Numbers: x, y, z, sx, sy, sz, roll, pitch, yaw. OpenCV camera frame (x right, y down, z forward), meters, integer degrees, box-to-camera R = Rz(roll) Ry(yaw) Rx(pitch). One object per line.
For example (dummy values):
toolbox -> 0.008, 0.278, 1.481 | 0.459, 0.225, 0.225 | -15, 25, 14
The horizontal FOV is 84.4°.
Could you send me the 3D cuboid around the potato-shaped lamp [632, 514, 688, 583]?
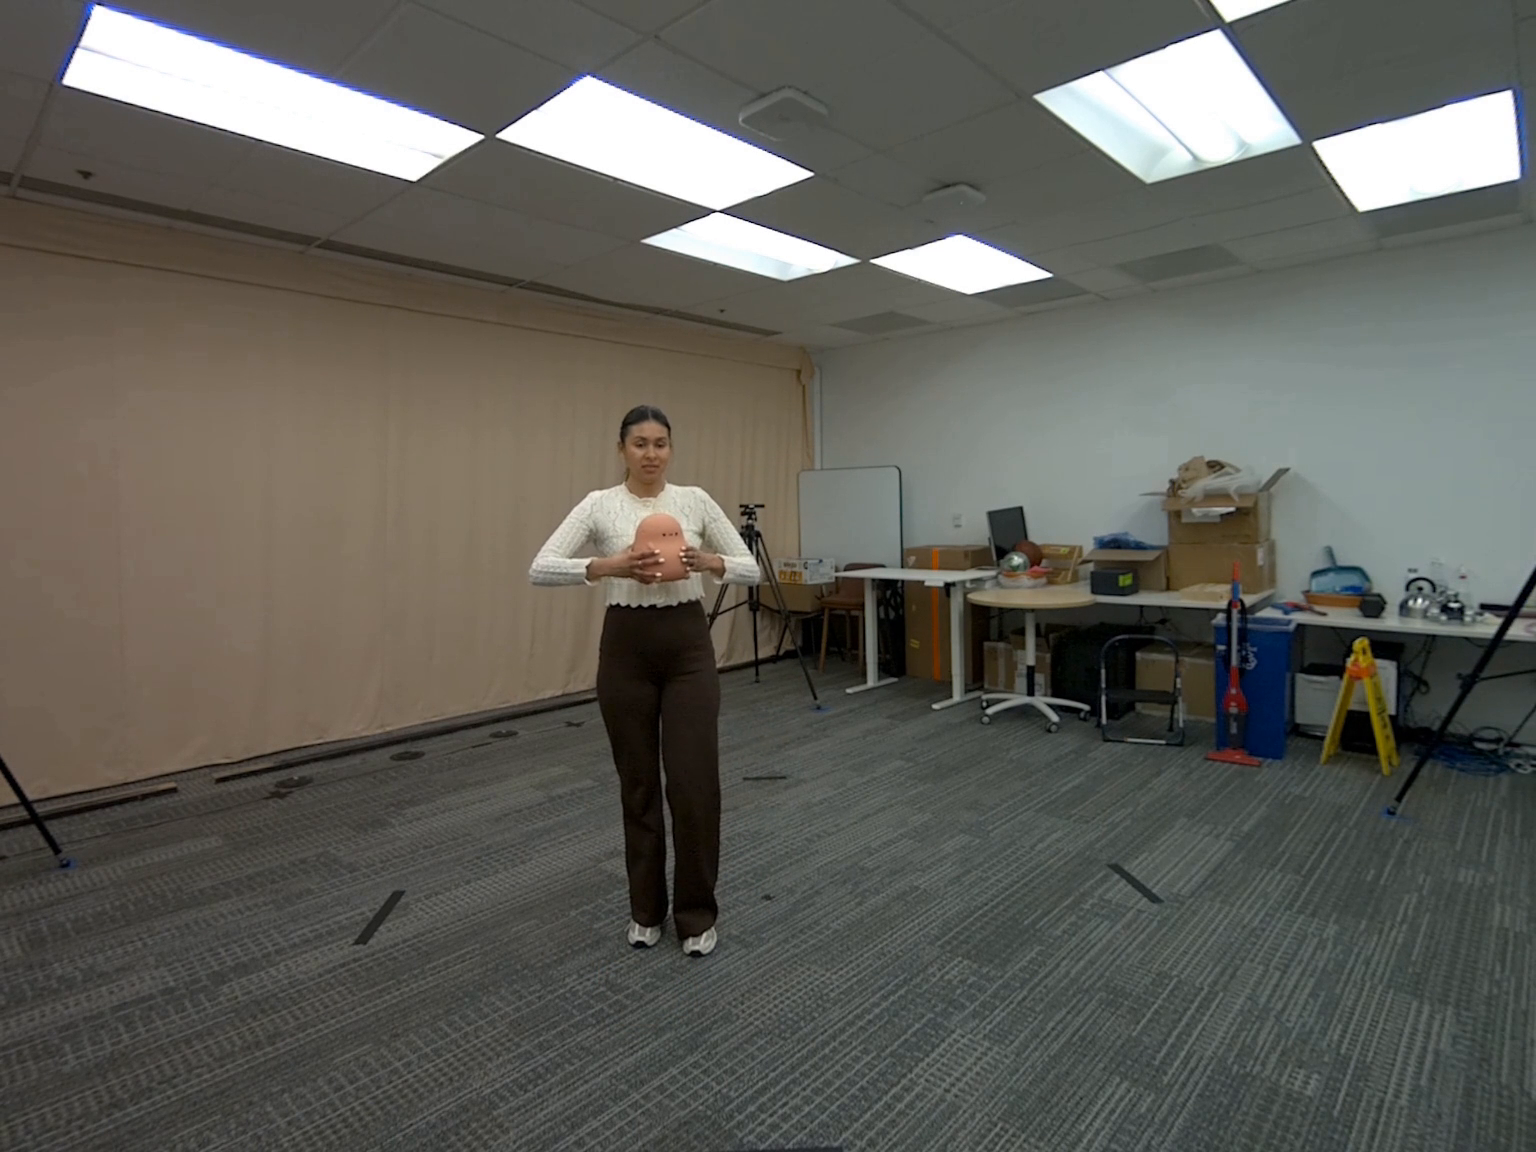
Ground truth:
potato-shaped lamp -> -0.311, -0.084, 2.474 | 0.160, 0.197, 0.177 | -3, 10, -33
